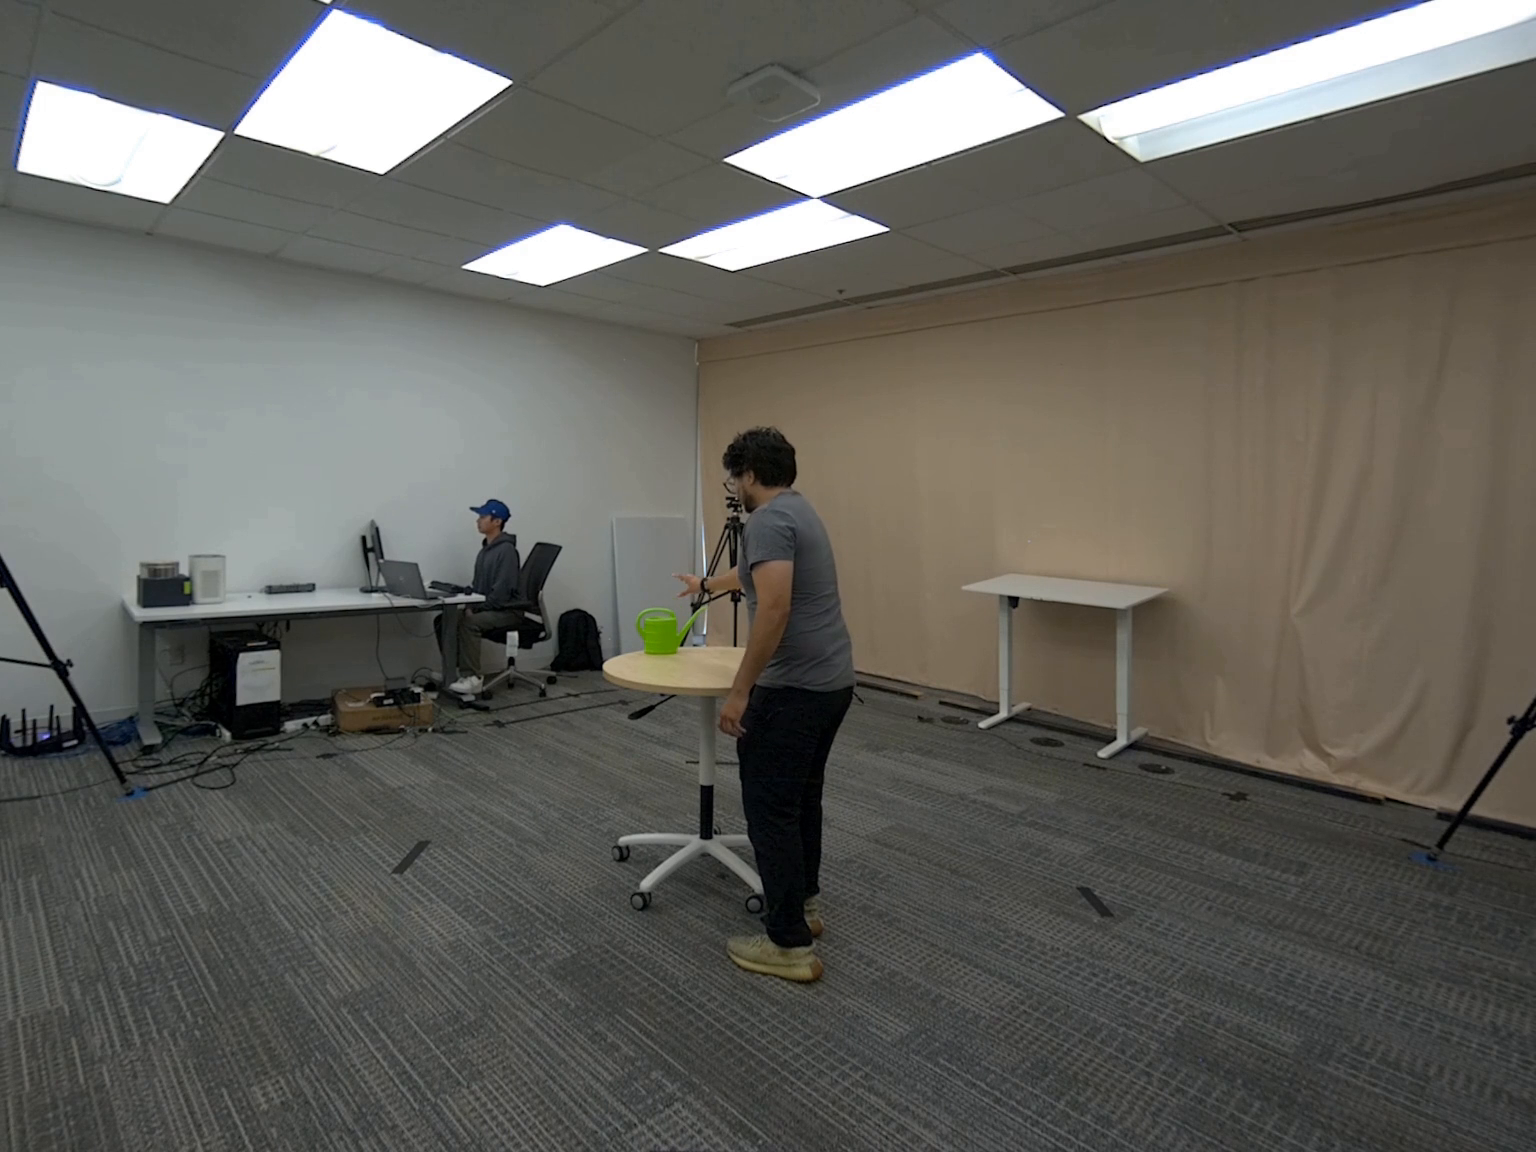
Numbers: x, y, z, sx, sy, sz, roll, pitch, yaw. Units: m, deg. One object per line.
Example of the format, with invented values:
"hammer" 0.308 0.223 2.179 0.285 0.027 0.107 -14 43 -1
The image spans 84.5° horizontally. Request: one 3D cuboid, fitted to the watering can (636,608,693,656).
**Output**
"watering can" -0.389 0.218 3.293 0.279 0.176 0.098 0 2 5
